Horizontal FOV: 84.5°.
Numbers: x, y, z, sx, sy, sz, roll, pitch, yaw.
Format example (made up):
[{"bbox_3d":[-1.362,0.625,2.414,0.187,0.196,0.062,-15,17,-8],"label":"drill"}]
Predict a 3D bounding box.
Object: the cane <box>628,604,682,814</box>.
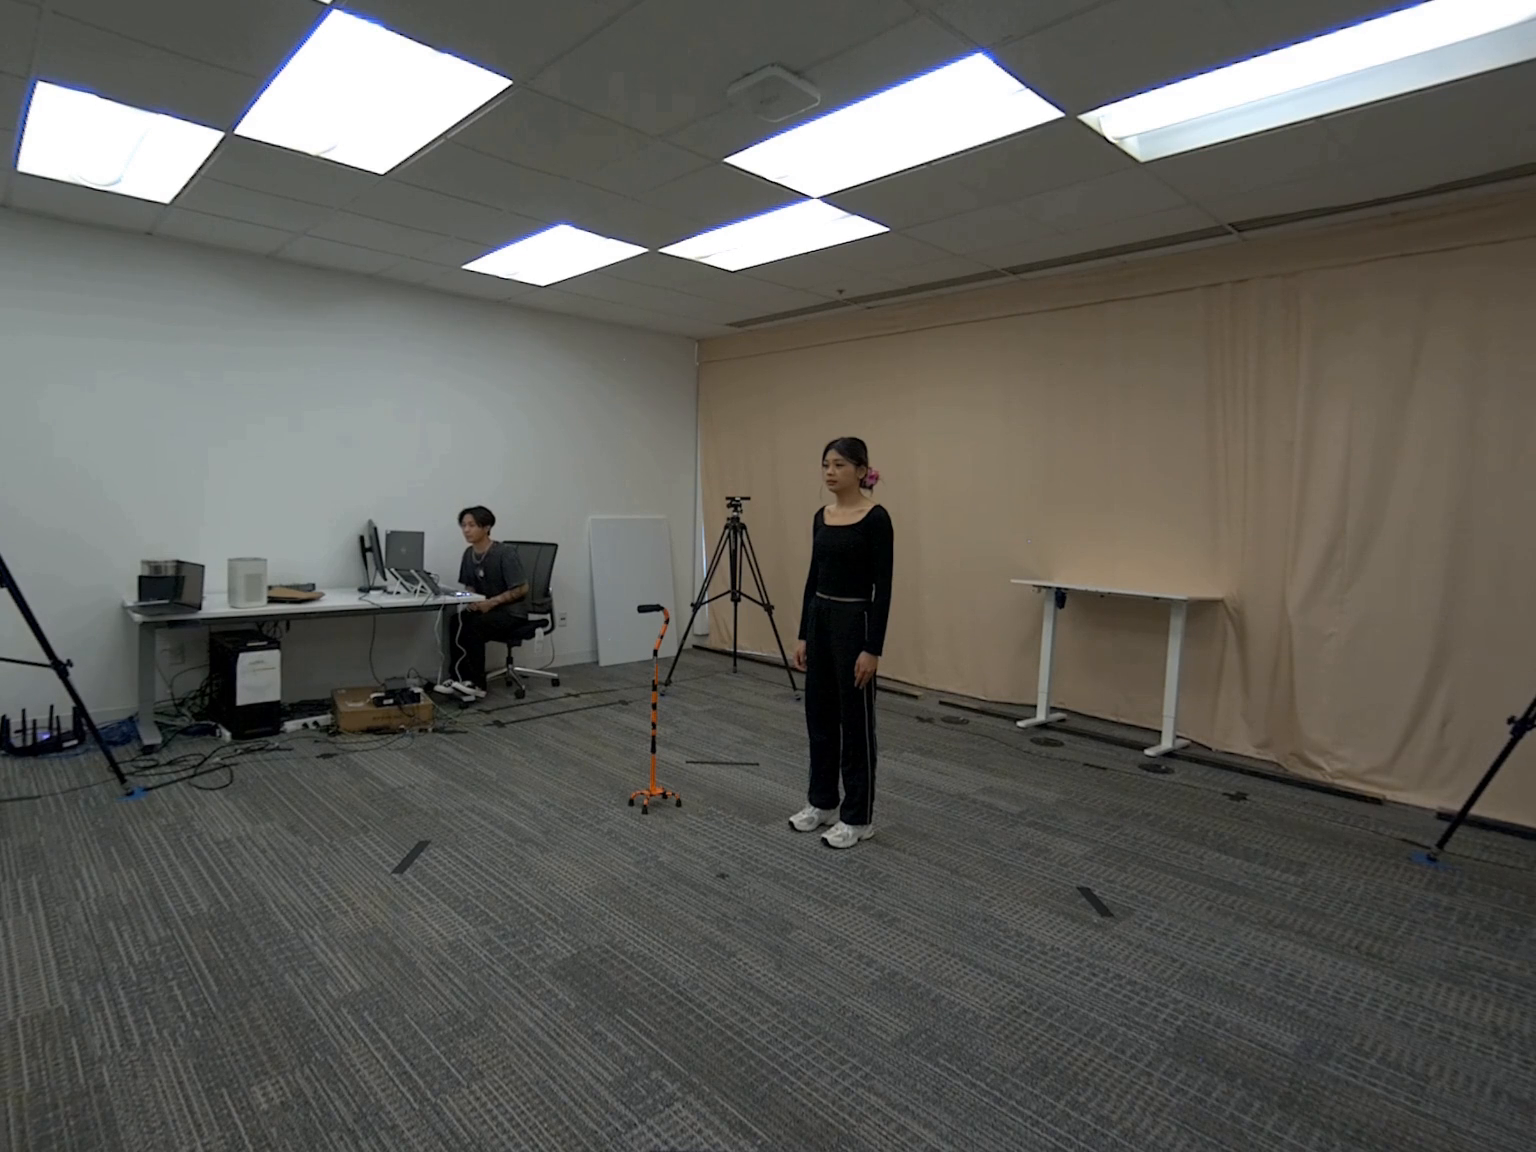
[{"bbox_3d":[-0.502,0.579,3.774,0.202,0.906,0.155,0,3,-37],"label":"cane"}]
